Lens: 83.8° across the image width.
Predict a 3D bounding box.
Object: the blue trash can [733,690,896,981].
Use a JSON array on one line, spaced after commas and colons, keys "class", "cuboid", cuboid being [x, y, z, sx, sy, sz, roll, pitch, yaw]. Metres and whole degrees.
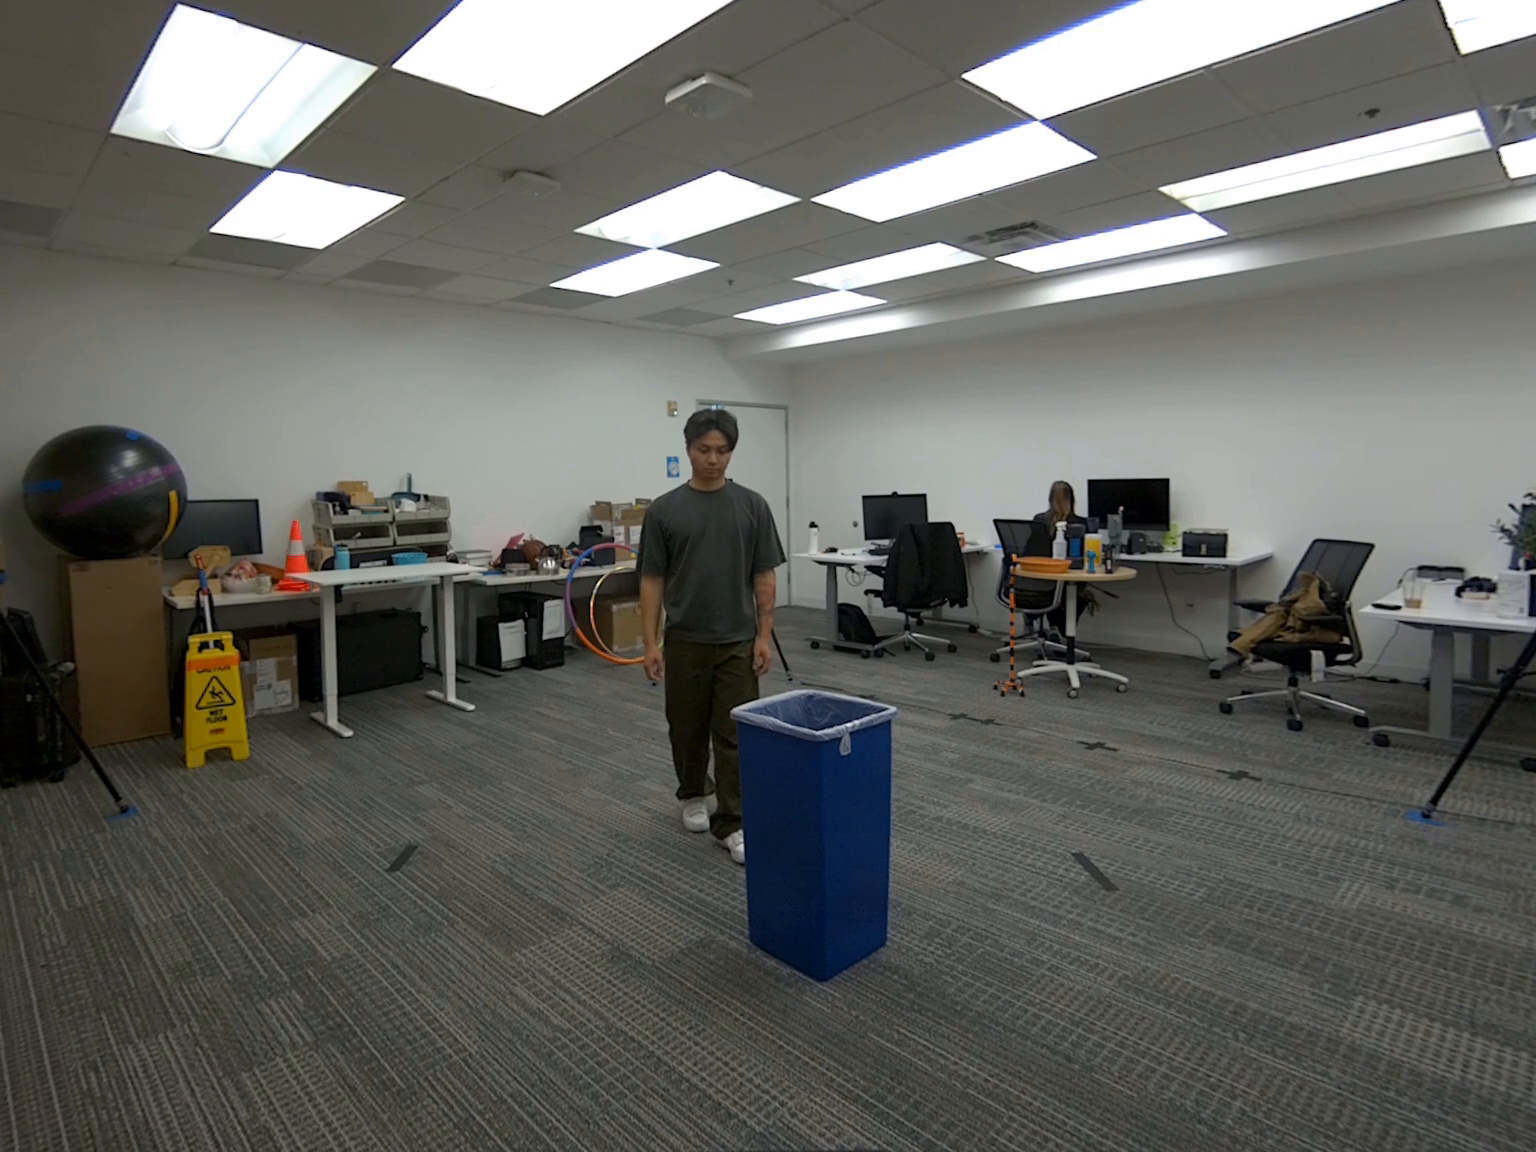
[{"class": "blue trash can", "cuboid": [0.140, 0.748, 2.552, 0.368, 0.711, 0.385, -5, 6, -44]}]
